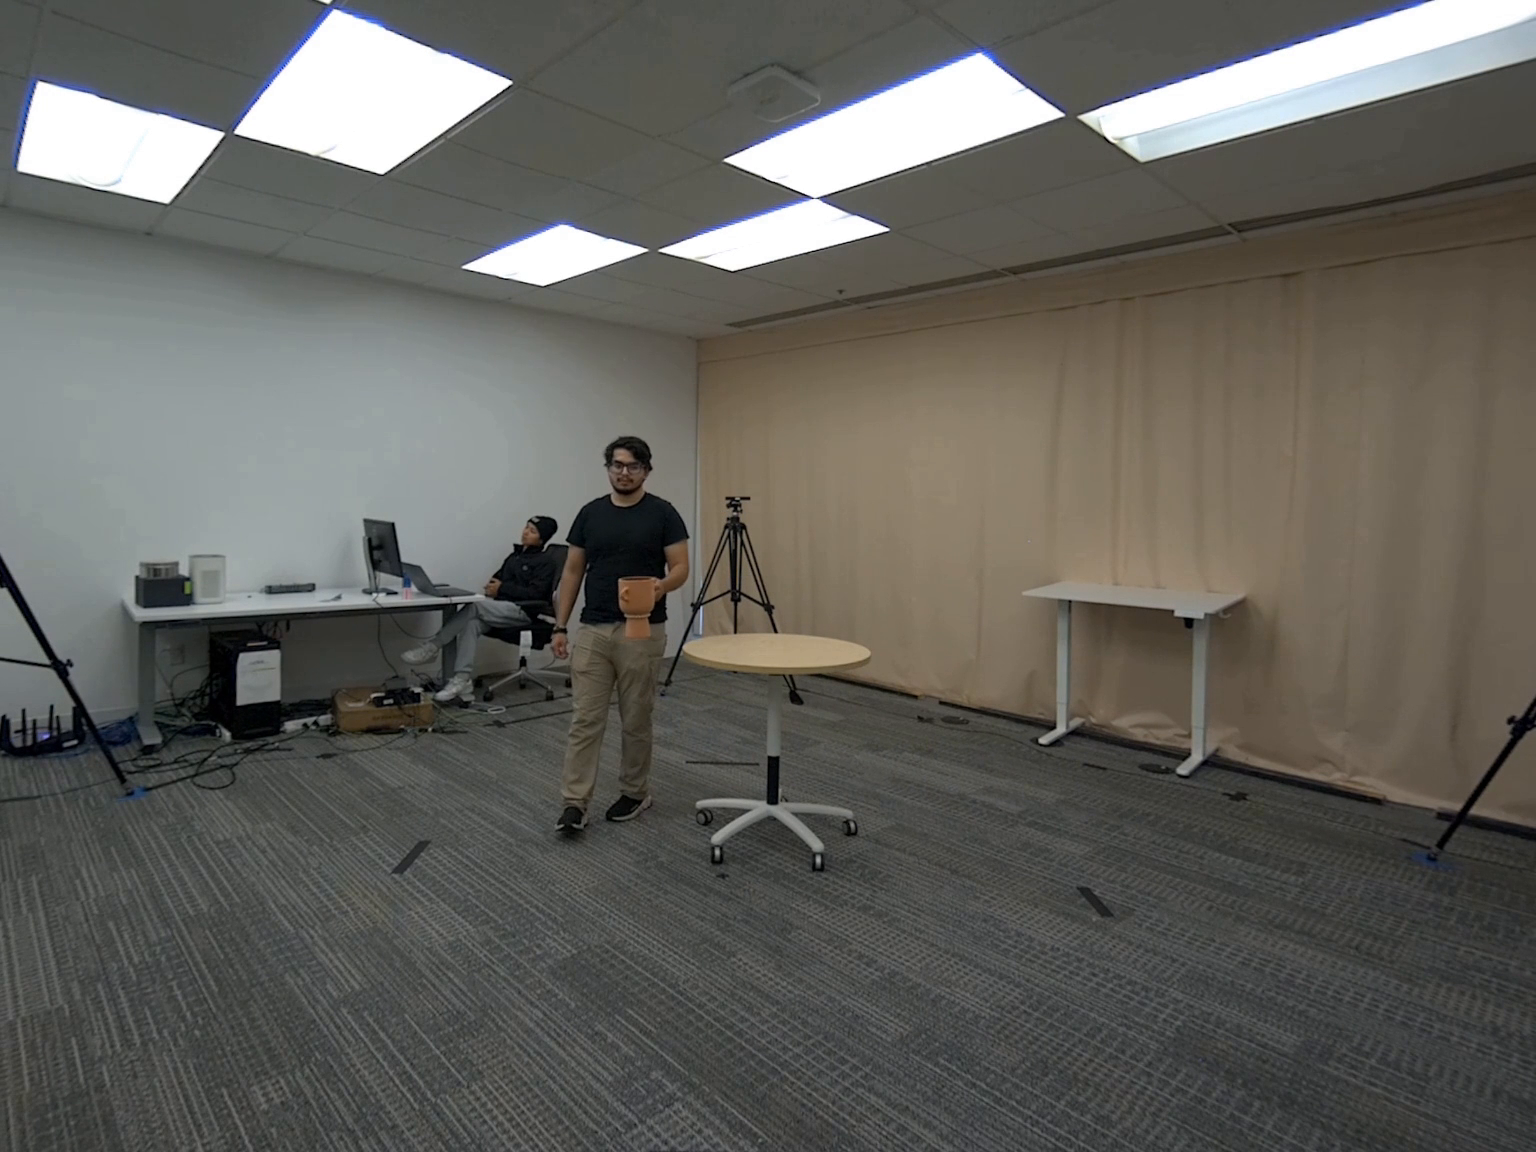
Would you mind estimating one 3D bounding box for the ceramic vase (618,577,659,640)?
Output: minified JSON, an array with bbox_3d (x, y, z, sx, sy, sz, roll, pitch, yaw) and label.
[{"bbox_3d":[-0.517,0.120,3.194,0.156,0.219,0.137,-4,6,-25],"label":"ceramic vase"}]
